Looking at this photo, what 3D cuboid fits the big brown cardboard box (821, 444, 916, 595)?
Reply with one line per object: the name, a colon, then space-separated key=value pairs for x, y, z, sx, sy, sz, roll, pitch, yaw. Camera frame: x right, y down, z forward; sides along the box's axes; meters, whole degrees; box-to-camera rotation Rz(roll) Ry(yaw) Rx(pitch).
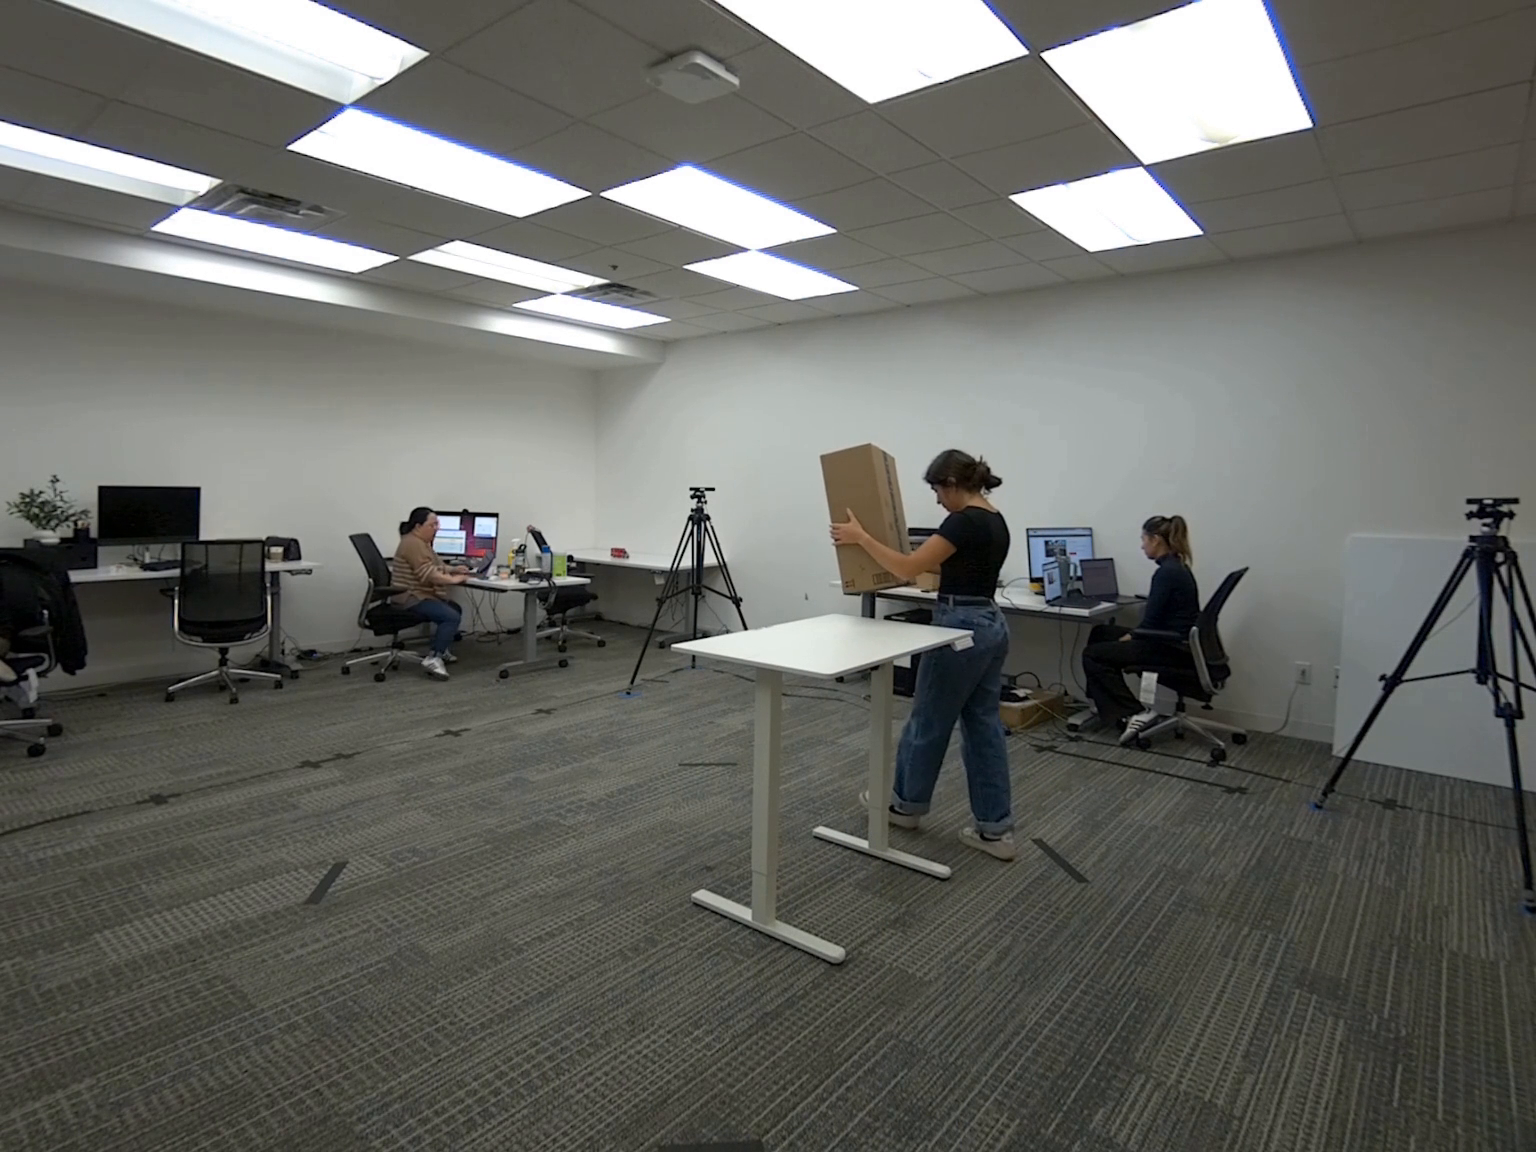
big brown cardboard box: x=0.411 y=-0.234 z=3.539 sx=0.237 sy=0.594 sz=0.407 roll=-12 pitch=-8 yaw=21
